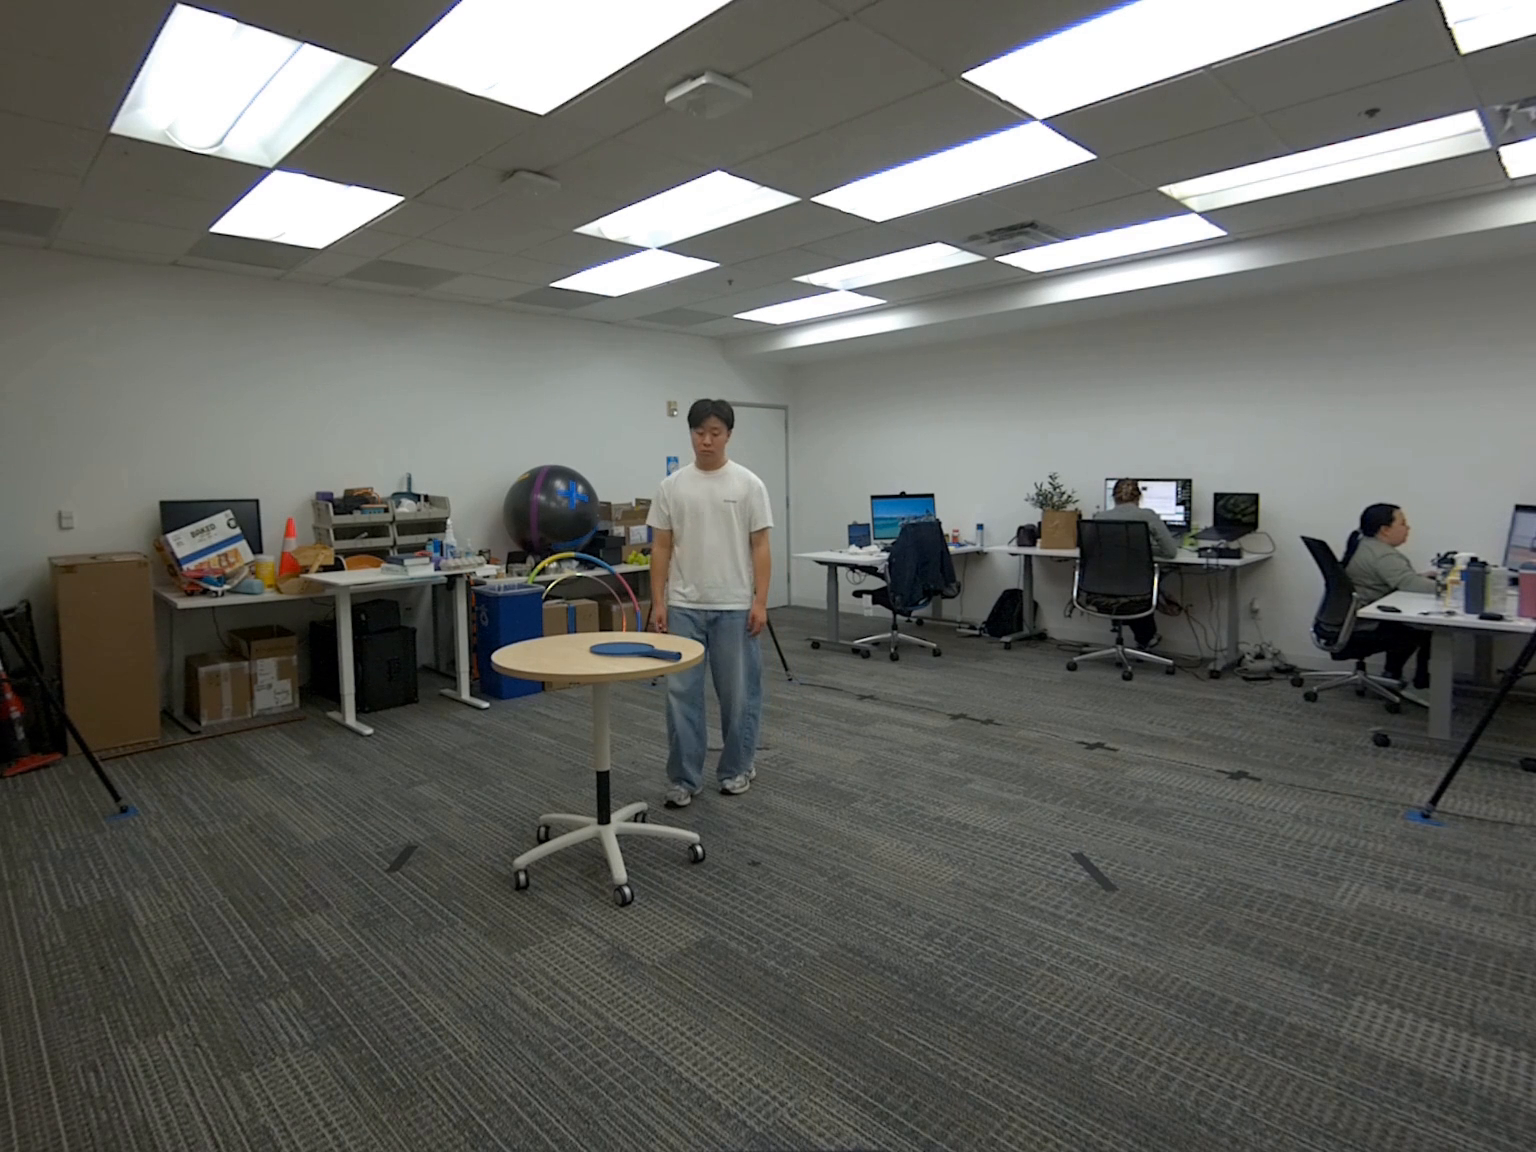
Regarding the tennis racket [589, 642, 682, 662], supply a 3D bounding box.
[{"bbox_3d":[-0.467,0.267,3.042,0.446,0.031,0.208,3,7,45],"label":"tennis racket"}]
